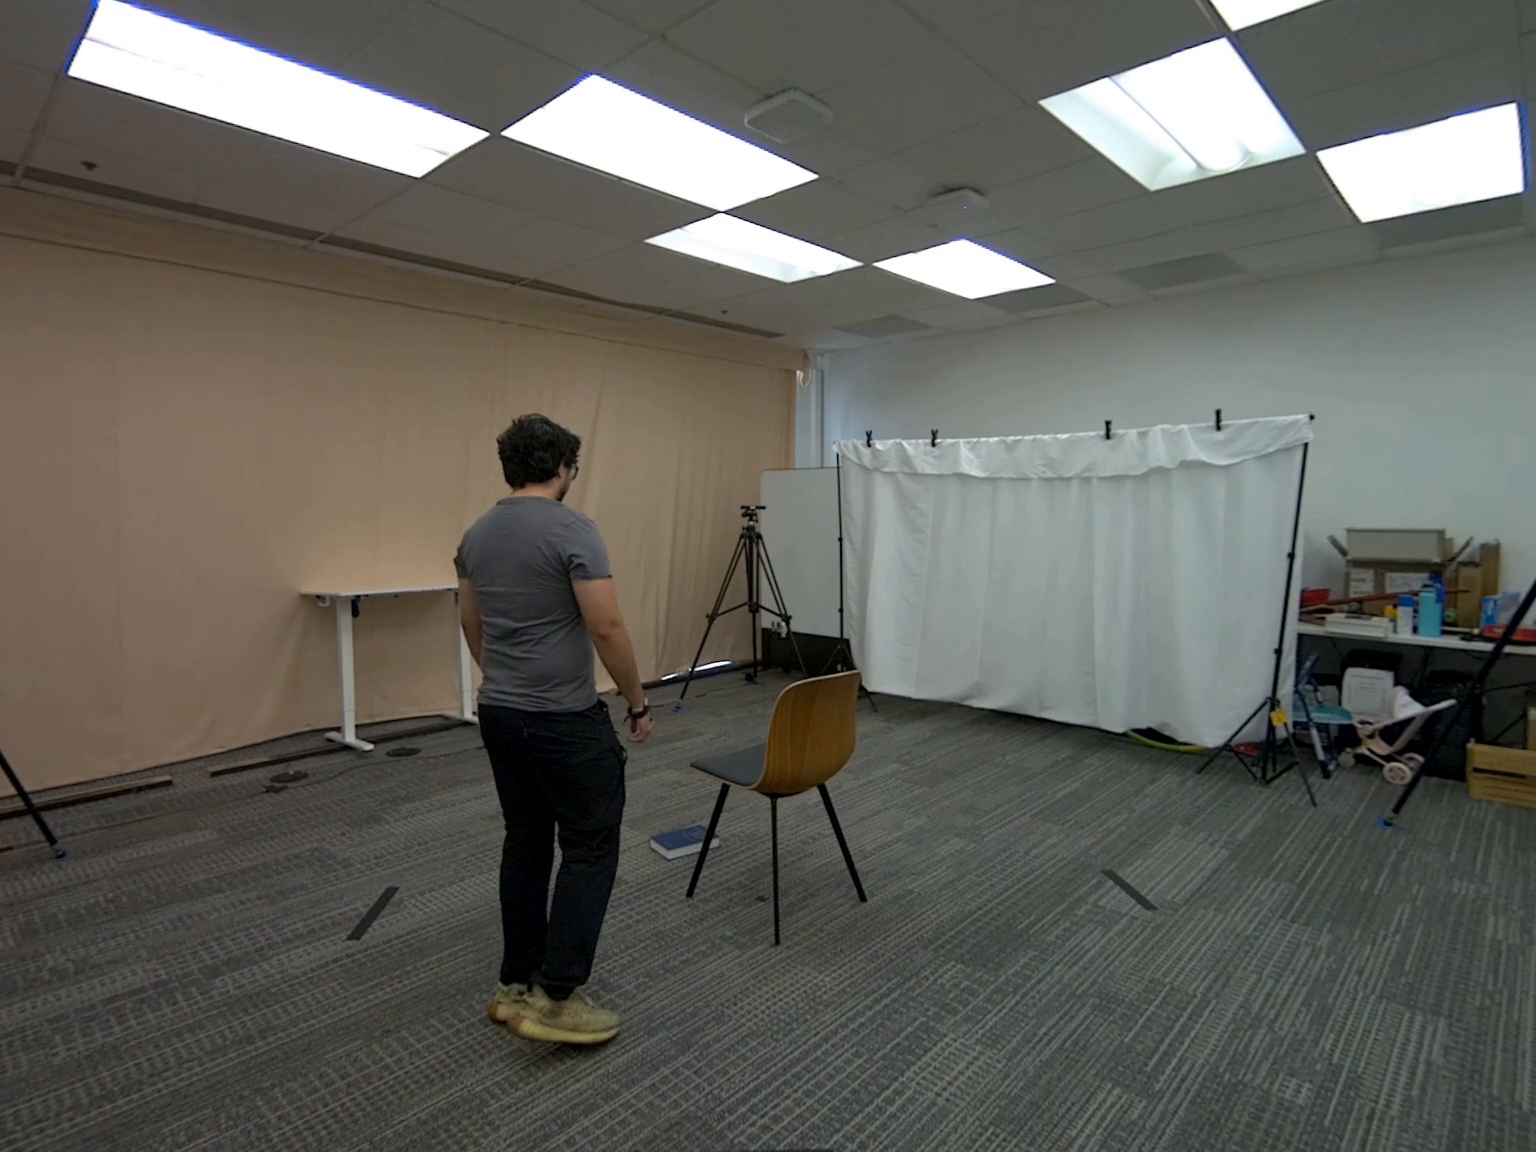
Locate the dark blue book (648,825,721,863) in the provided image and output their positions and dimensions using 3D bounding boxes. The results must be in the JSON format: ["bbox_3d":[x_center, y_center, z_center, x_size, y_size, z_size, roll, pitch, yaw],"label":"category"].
[{"bbox_3d":[-0.340,1.081,3.434,0.238,0.045,0.168,-3,5,-34],"label":"dark blue book"}]
